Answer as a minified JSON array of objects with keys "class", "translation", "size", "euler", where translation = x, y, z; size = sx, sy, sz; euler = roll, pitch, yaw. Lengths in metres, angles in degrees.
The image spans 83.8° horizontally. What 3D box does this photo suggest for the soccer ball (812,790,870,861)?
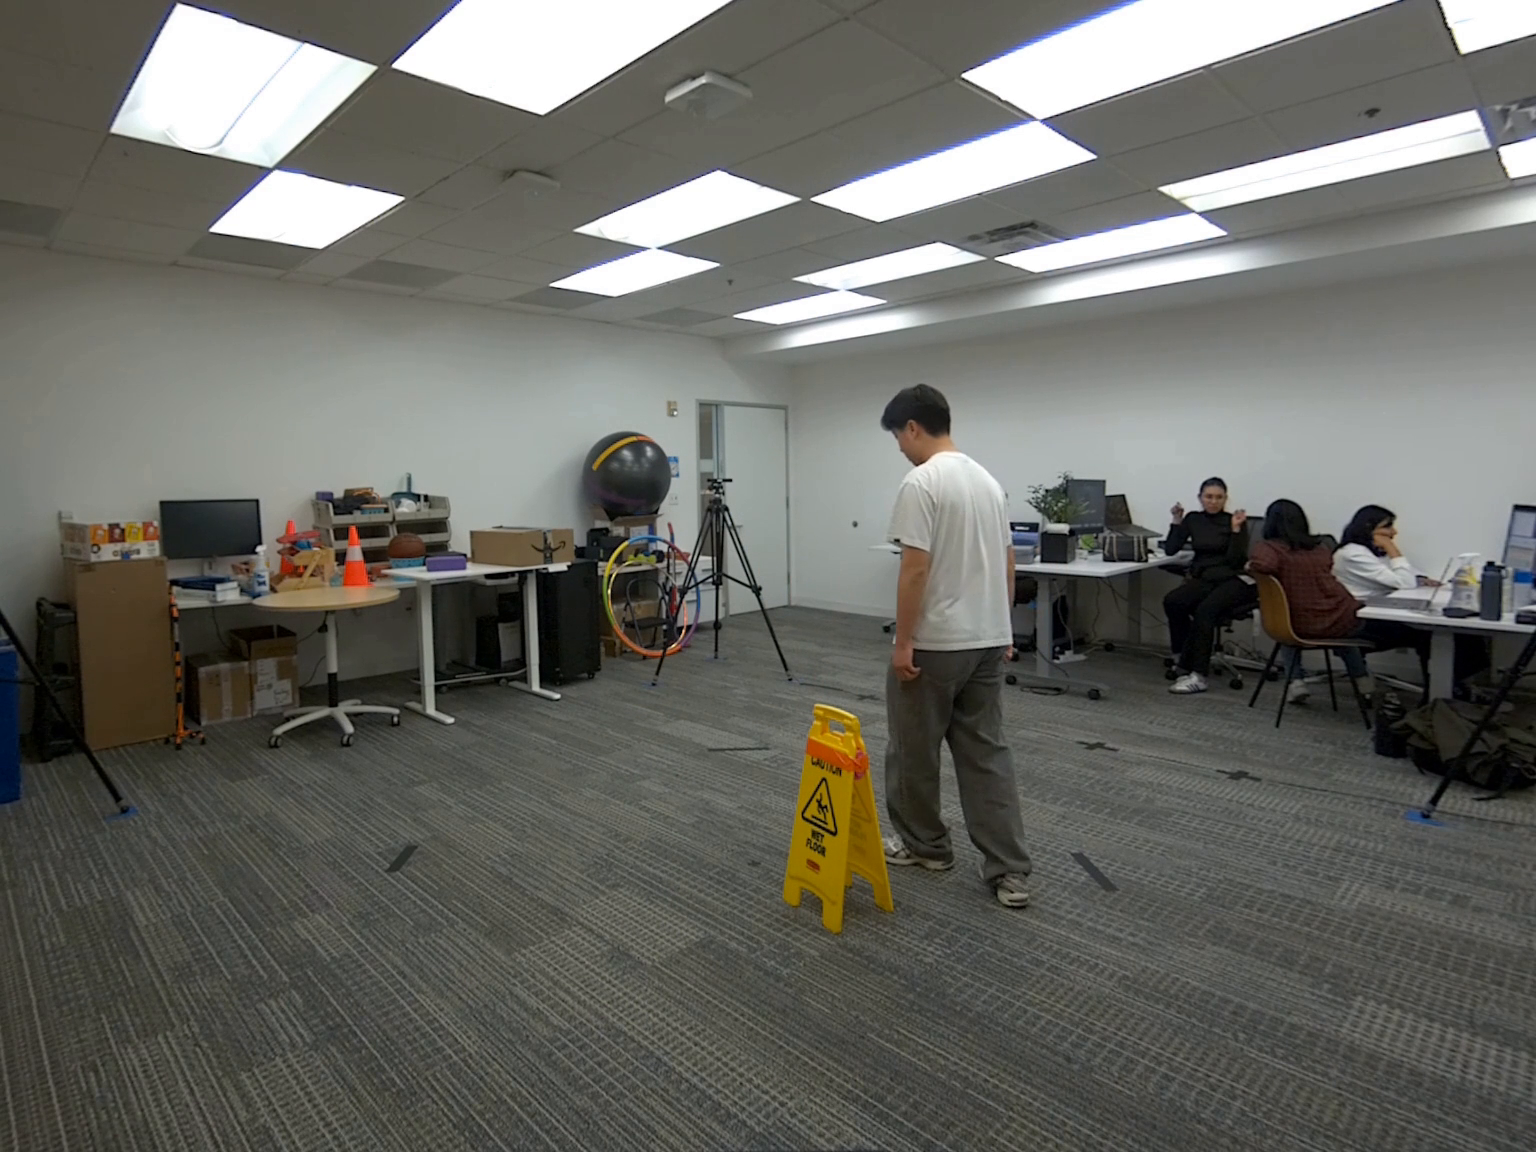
[{"class":"soccer ball","translation":[0.270,0.938,3.239],"size":[0.187,0.187,0.188],"euler":[-1,5,-2]}]
